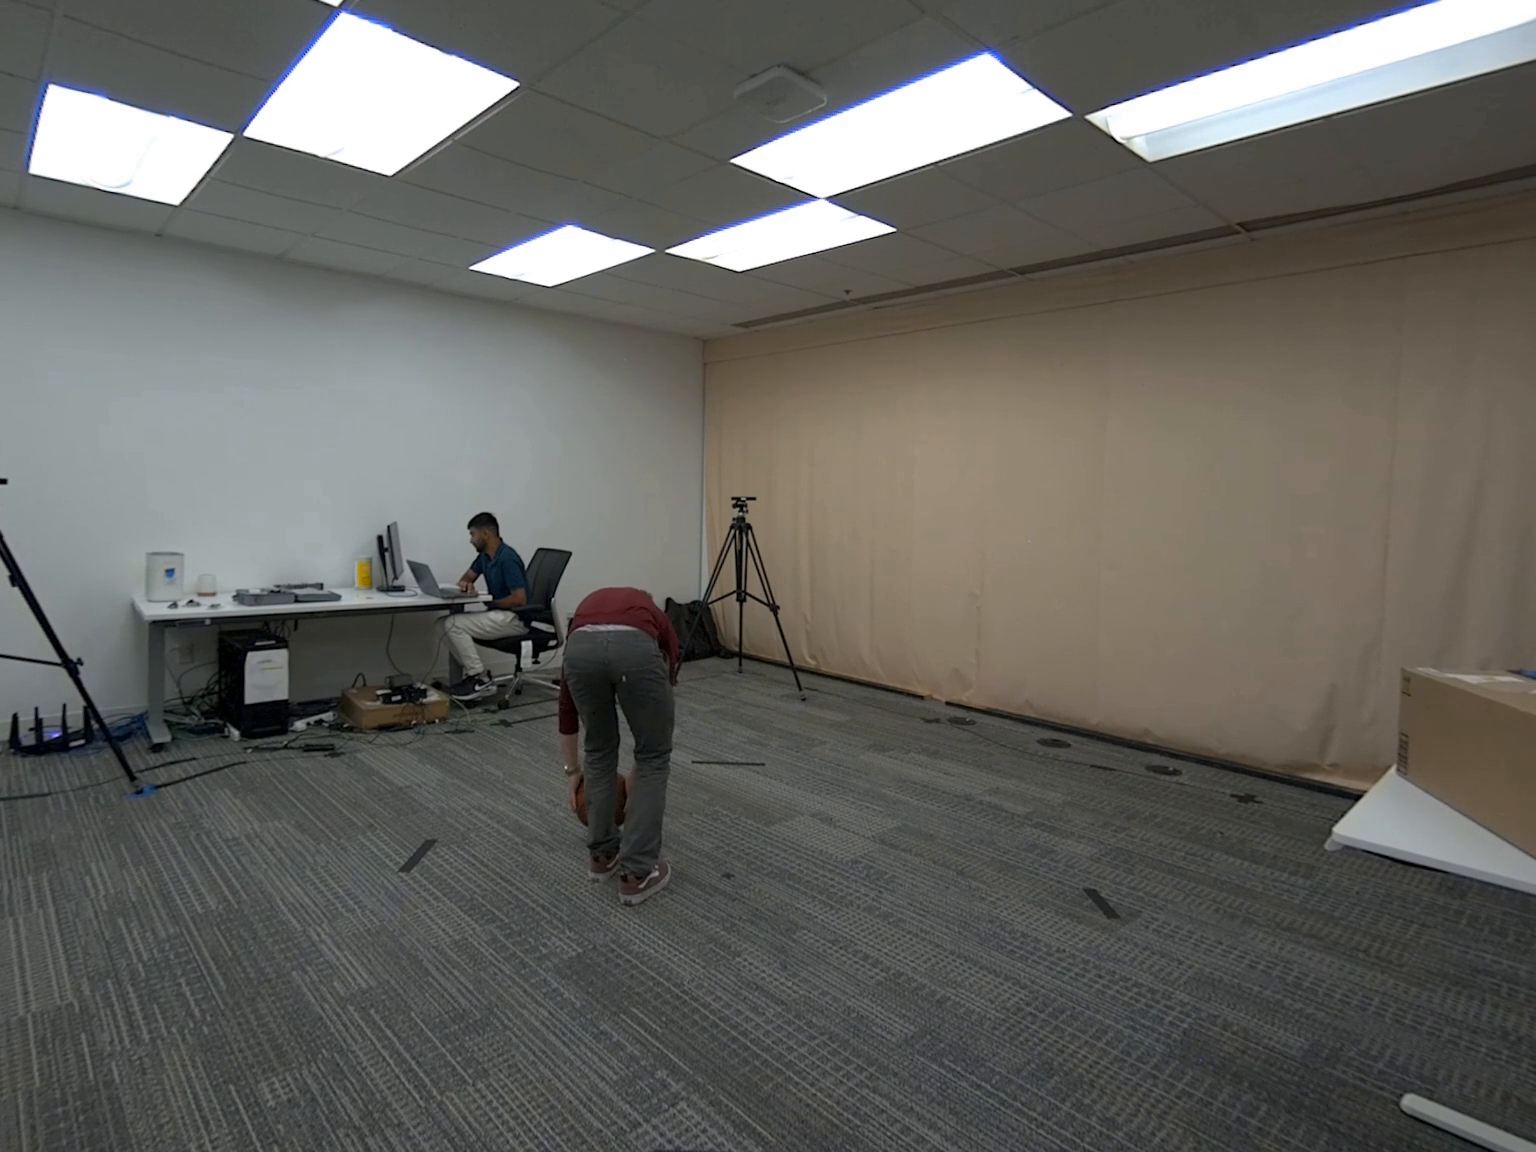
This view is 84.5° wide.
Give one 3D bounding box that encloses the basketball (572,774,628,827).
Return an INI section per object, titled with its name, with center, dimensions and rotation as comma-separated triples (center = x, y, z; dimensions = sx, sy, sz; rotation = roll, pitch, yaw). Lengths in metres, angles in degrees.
[basketball]
center = -0.661, 0.889, 3.387
dimensions = 0.236, 0.235, 0.237
rotation = 1, 4, -1
